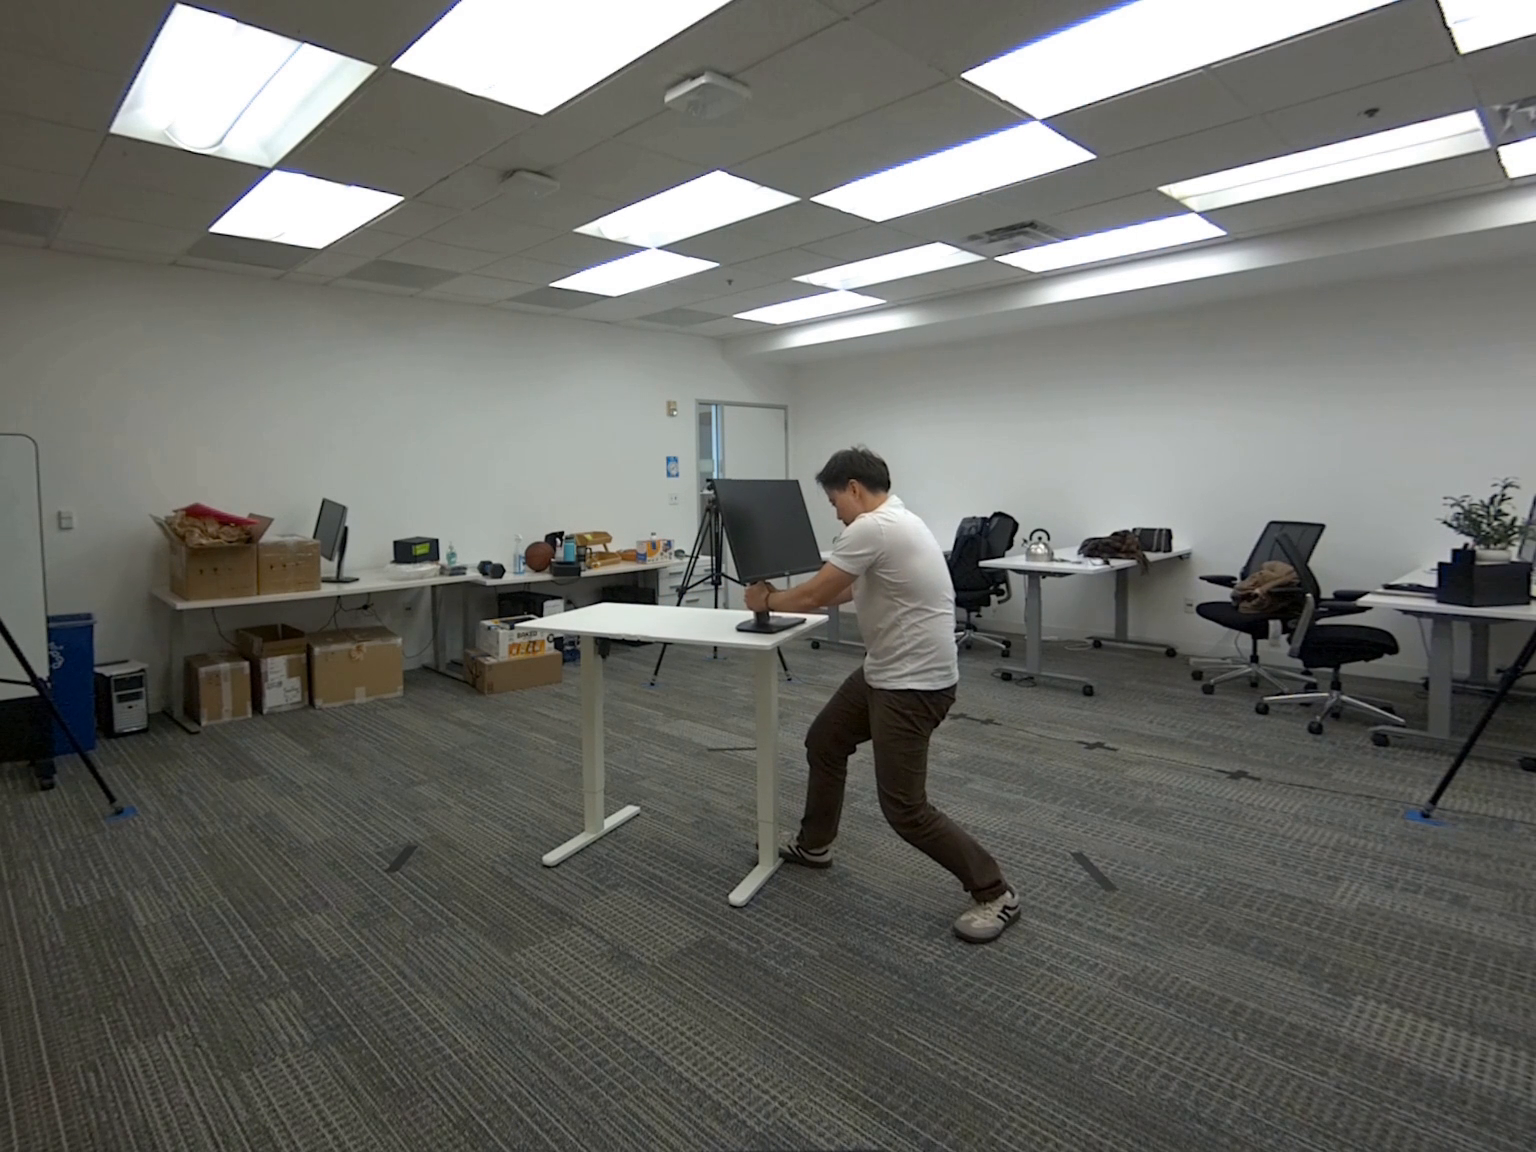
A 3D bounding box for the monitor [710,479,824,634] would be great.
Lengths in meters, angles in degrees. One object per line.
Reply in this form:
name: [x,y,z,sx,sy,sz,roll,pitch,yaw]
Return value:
monitor: [-0.003,-0.078,2.991,0.192,0.522,0.526,-2,3,31]
